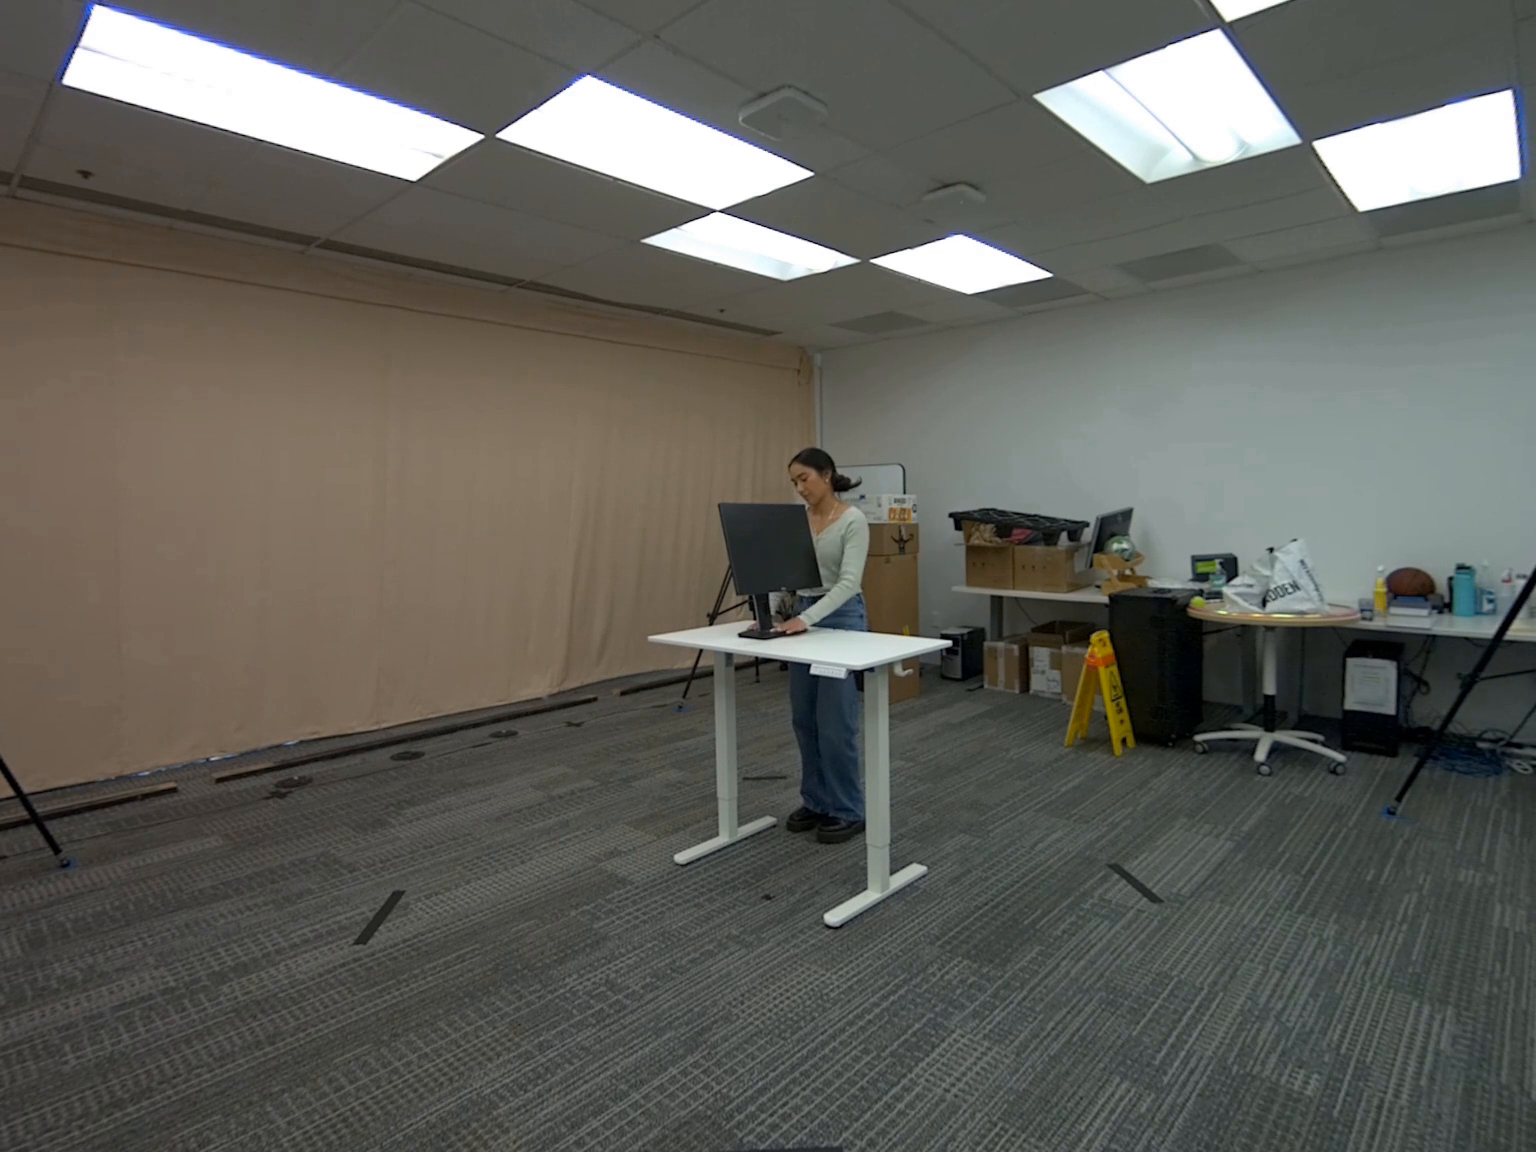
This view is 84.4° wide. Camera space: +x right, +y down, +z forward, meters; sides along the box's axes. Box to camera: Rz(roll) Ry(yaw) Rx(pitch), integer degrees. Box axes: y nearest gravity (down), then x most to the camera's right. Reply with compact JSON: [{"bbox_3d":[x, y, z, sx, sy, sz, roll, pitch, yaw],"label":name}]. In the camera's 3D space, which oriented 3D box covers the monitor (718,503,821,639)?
[{"bbox_3d":[0.005,-0.029,3.308,0.180,0.515,0.513,5,4,39],"label":"monitor"}]
